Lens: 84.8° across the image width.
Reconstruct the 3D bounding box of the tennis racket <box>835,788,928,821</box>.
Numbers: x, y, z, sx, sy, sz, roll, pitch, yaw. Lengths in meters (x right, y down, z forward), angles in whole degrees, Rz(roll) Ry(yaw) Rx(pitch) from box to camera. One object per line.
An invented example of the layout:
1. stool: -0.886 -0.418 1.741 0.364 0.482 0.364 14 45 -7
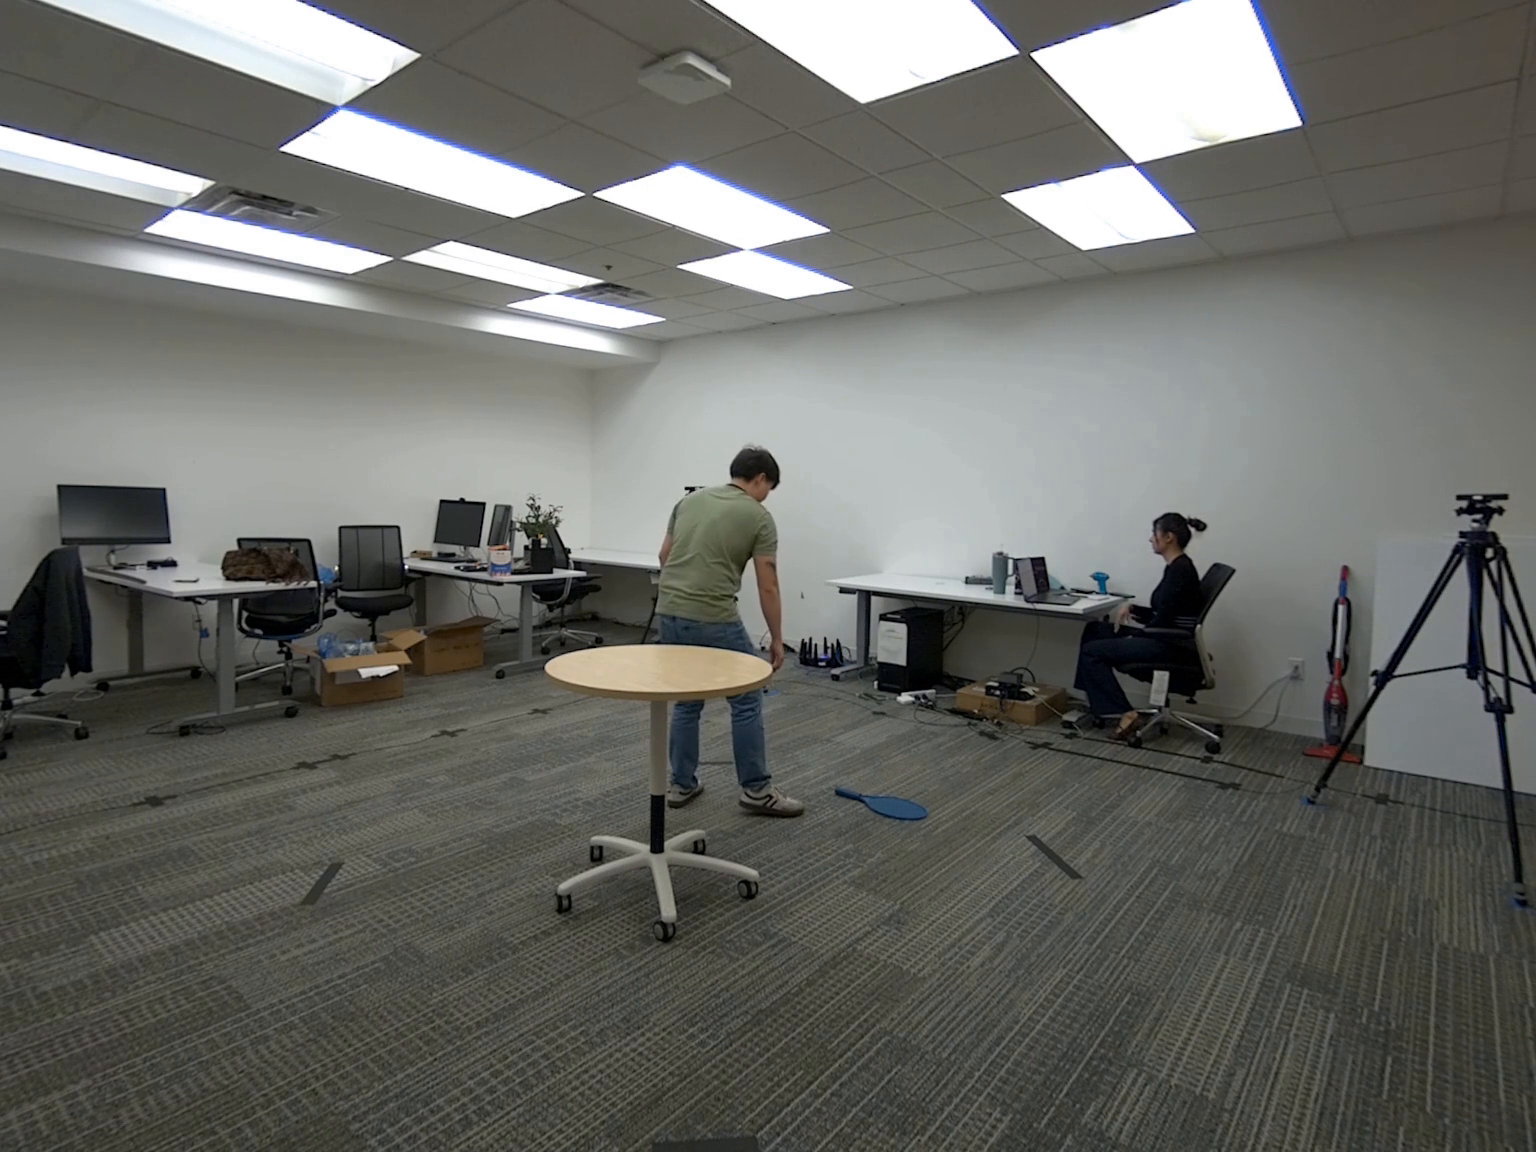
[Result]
1. tennis racket: 0.489 0.997 3.764 0.447 0.031 0.208 7 10 36
